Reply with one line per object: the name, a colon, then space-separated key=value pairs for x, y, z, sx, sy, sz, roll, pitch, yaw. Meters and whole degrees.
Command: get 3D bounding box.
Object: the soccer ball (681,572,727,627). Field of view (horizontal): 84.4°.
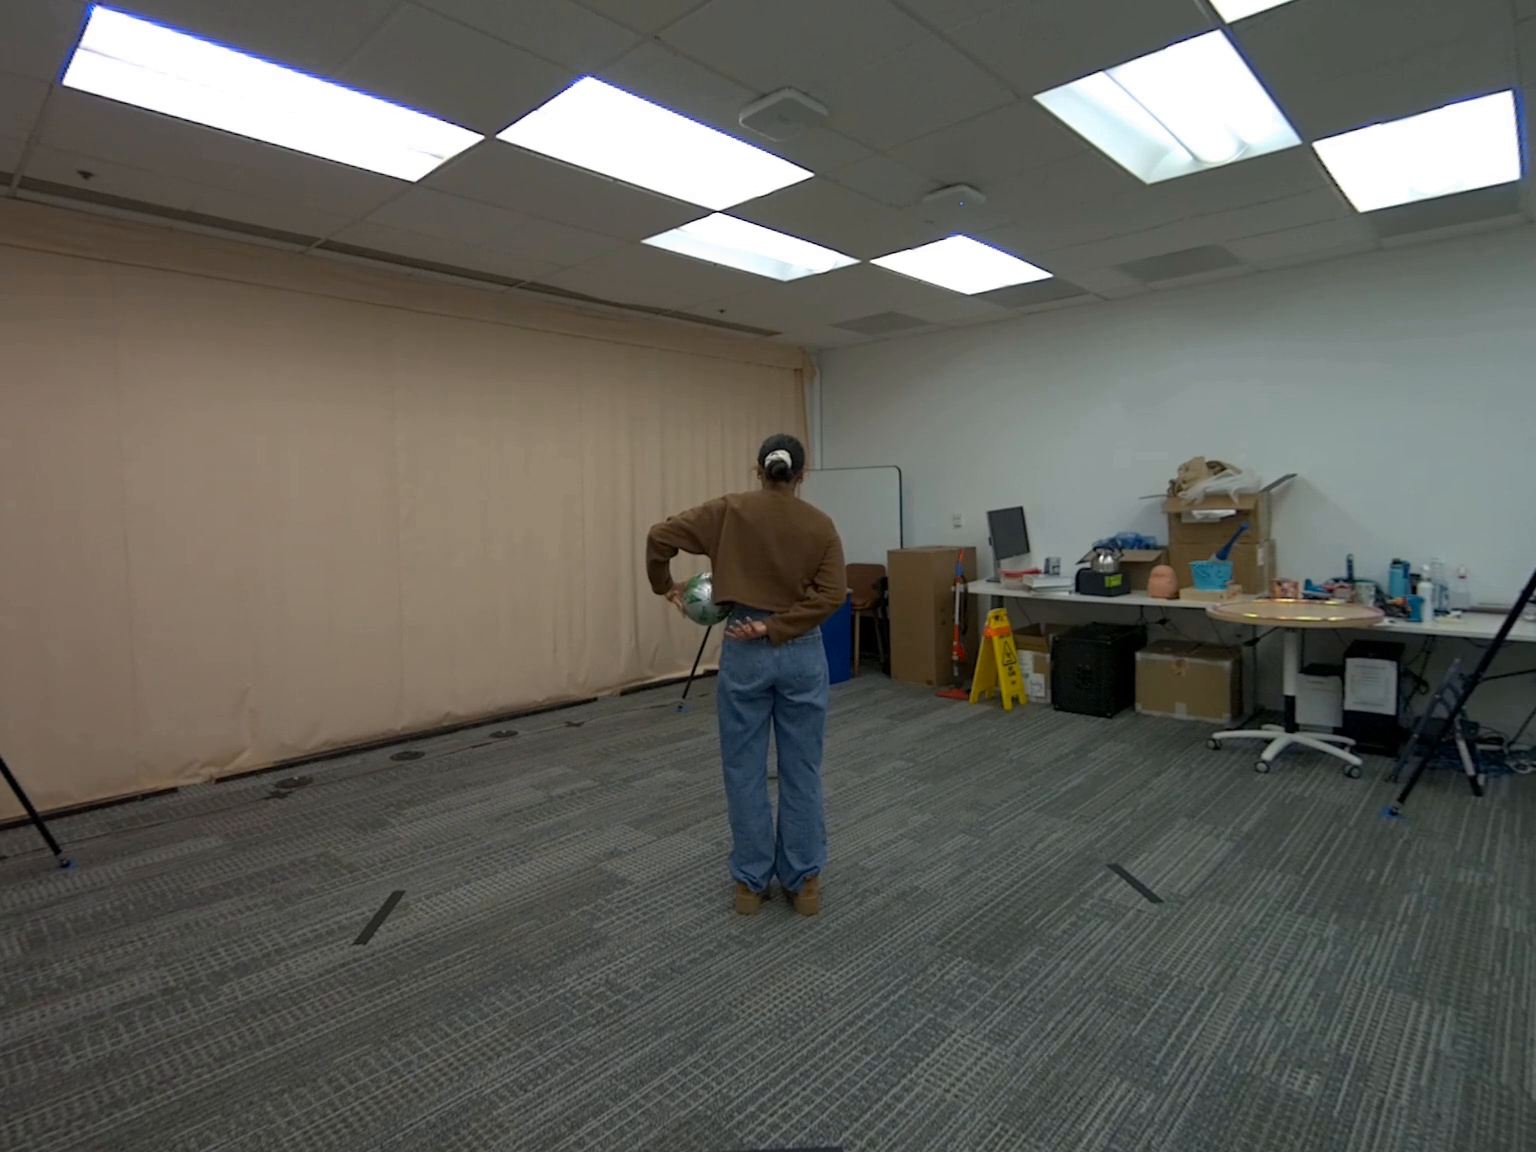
soccer ball: x=-0.207 y=0.080 z=2.931 sx=0.187 sy=0.187 sz=0.188 roll=-1 pitch=4 yaw=-2
